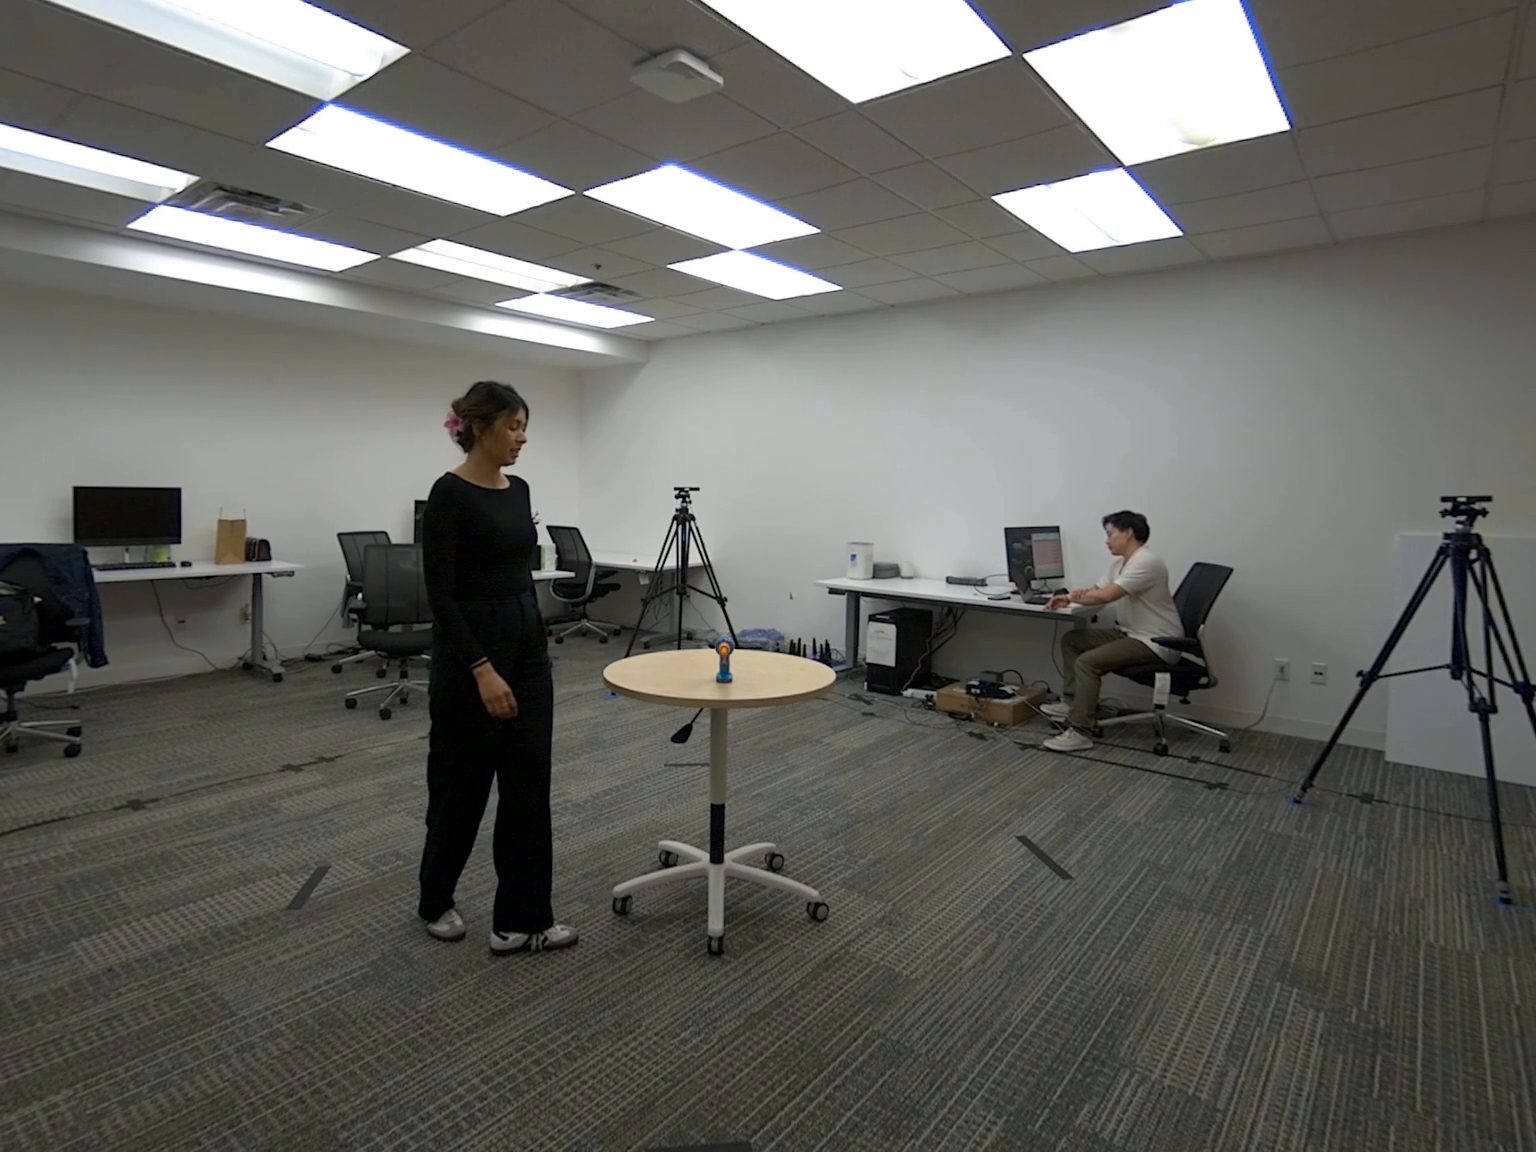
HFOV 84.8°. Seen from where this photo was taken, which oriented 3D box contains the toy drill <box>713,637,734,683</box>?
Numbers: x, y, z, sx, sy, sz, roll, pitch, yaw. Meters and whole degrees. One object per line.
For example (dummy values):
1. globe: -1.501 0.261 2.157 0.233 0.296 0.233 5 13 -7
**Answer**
1. toy drill: -0.142 0.262 2.625 0.061 0.146 0.171 -1 3 -5
